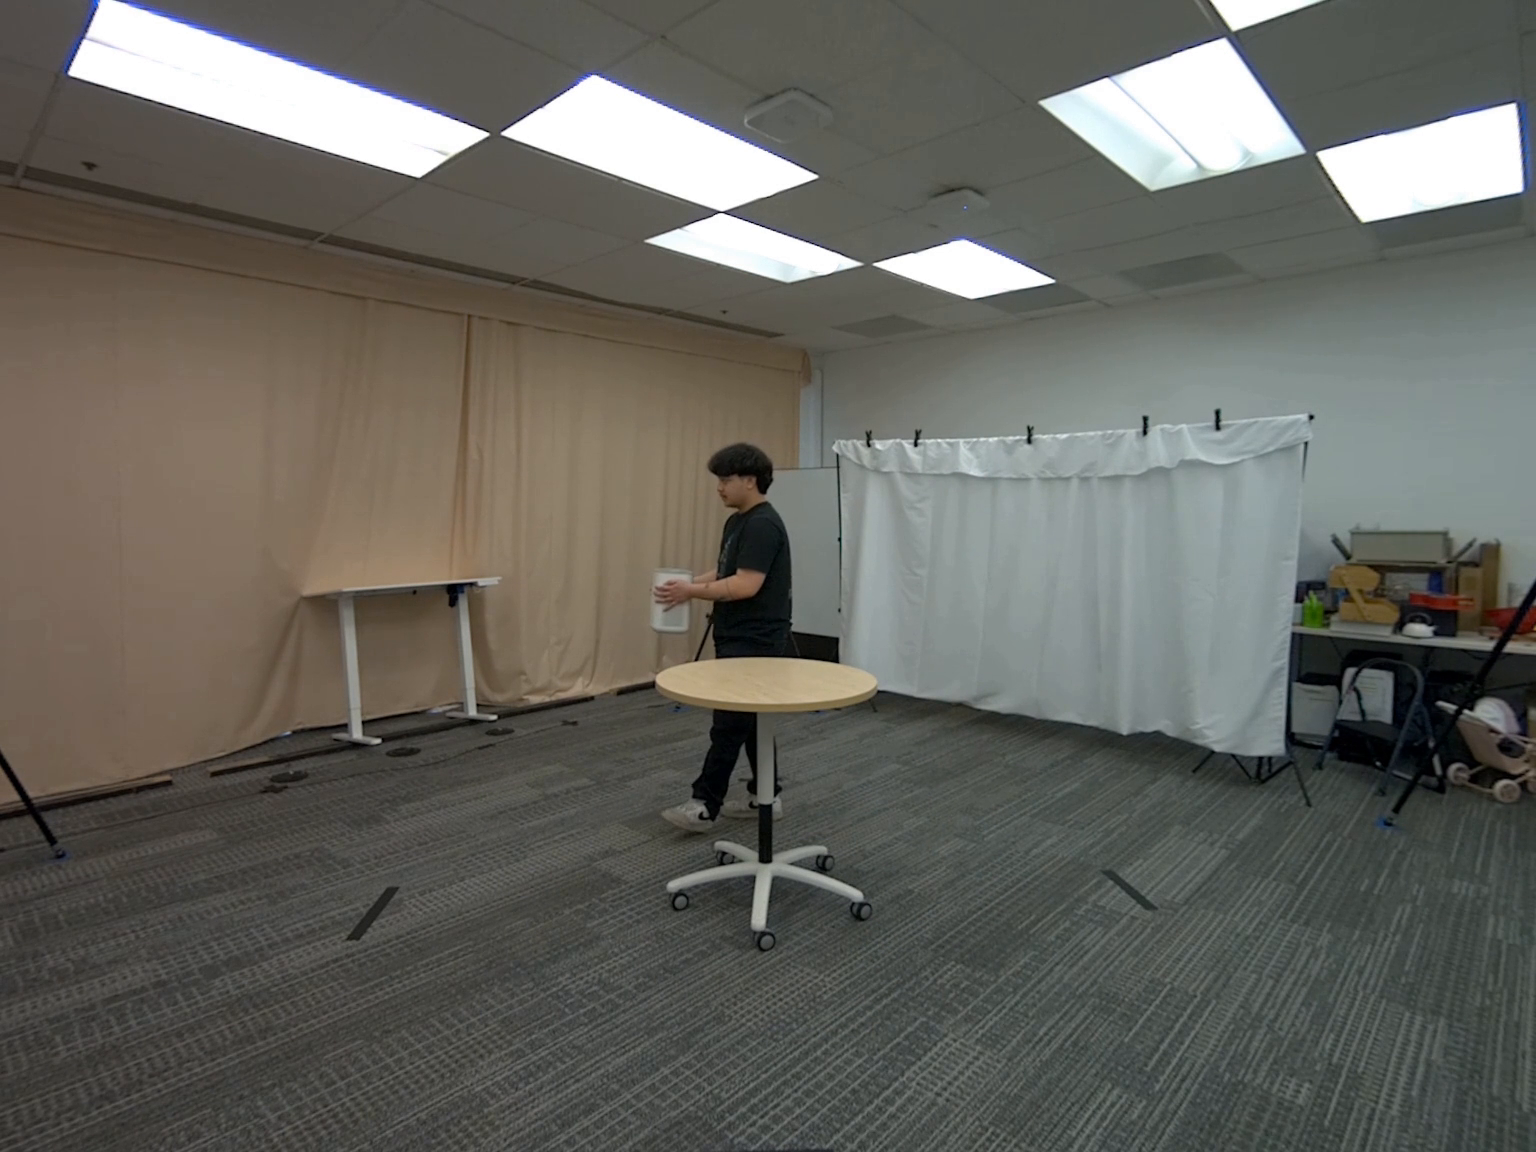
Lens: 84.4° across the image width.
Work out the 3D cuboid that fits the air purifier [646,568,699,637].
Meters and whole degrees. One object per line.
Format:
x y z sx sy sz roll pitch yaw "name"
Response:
-0.417 0.111 3.641 0.168 0.265 0.174 3 4 -18 "air purifier"
